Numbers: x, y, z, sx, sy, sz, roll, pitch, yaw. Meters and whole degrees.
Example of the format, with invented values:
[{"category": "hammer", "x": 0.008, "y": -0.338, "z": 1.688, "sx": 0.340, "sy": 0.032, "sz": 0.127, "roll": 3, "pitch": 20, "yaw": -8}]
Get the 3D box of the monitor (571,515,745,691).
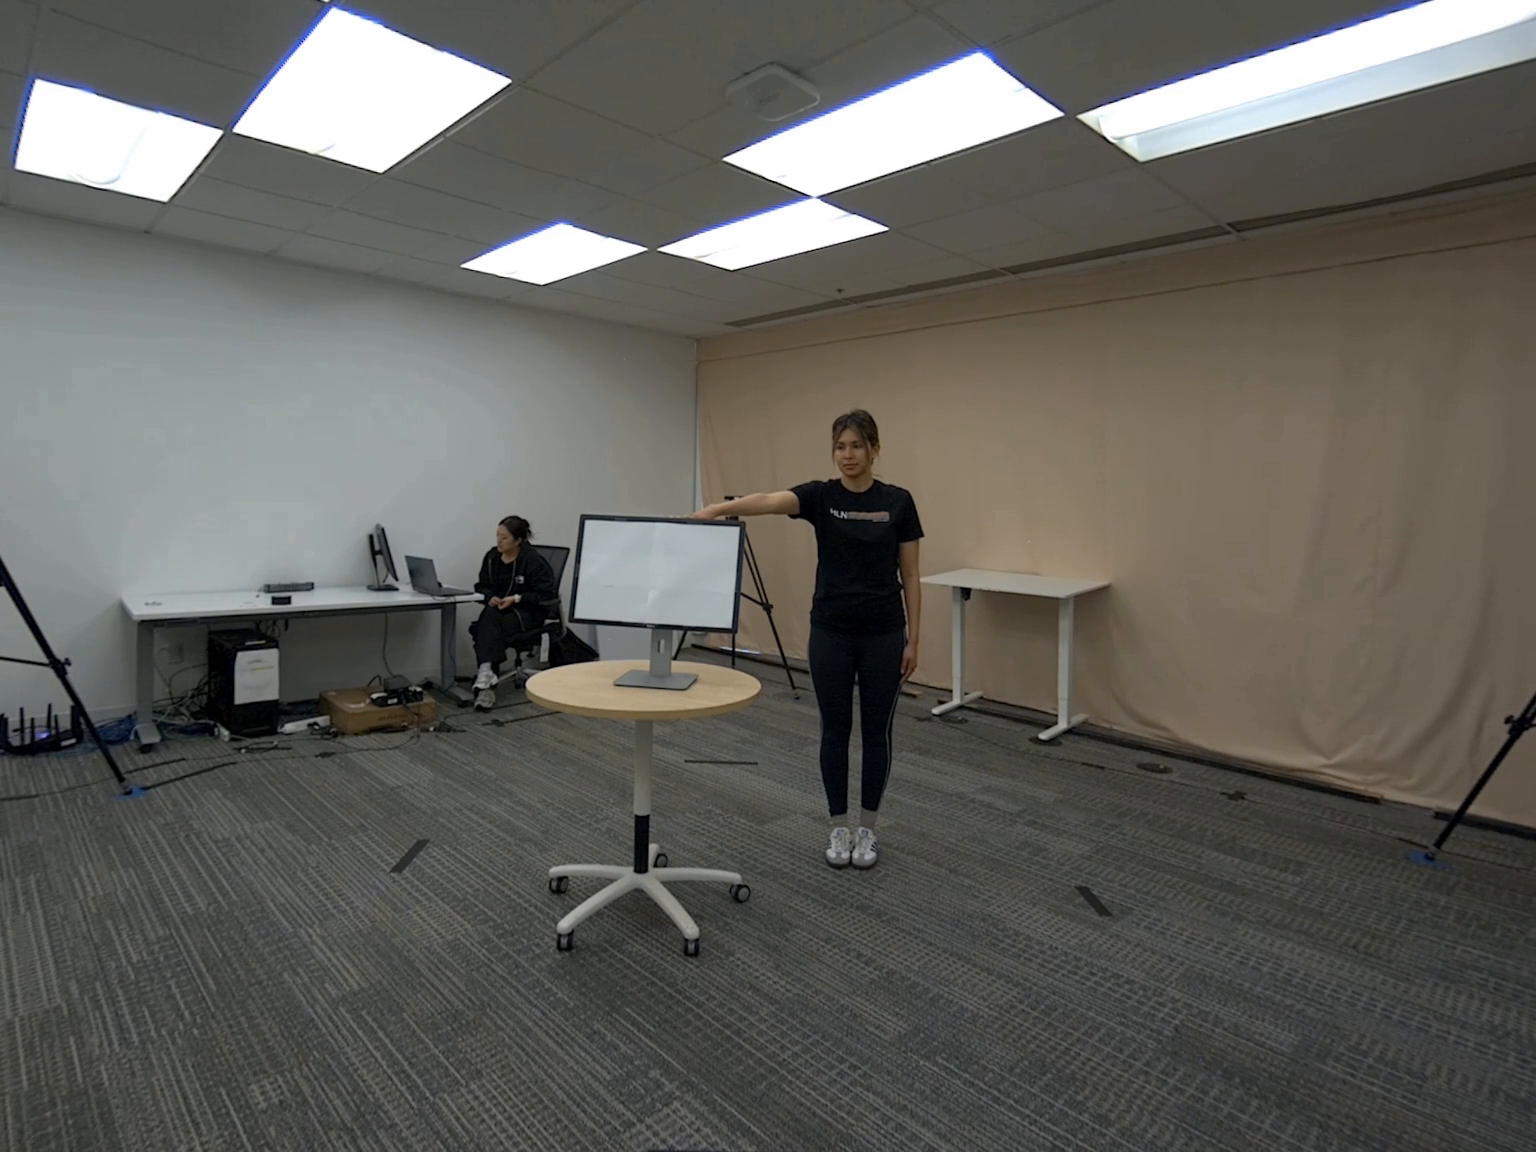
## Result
[{"category": "monitor", "x": -0.358, "y": 0.089, "z": 2.768, "sx": 0.543, "sy": 0.521, "sz": 0.186, "roll": 3, "pitch": 3, "yaw": 9}]
